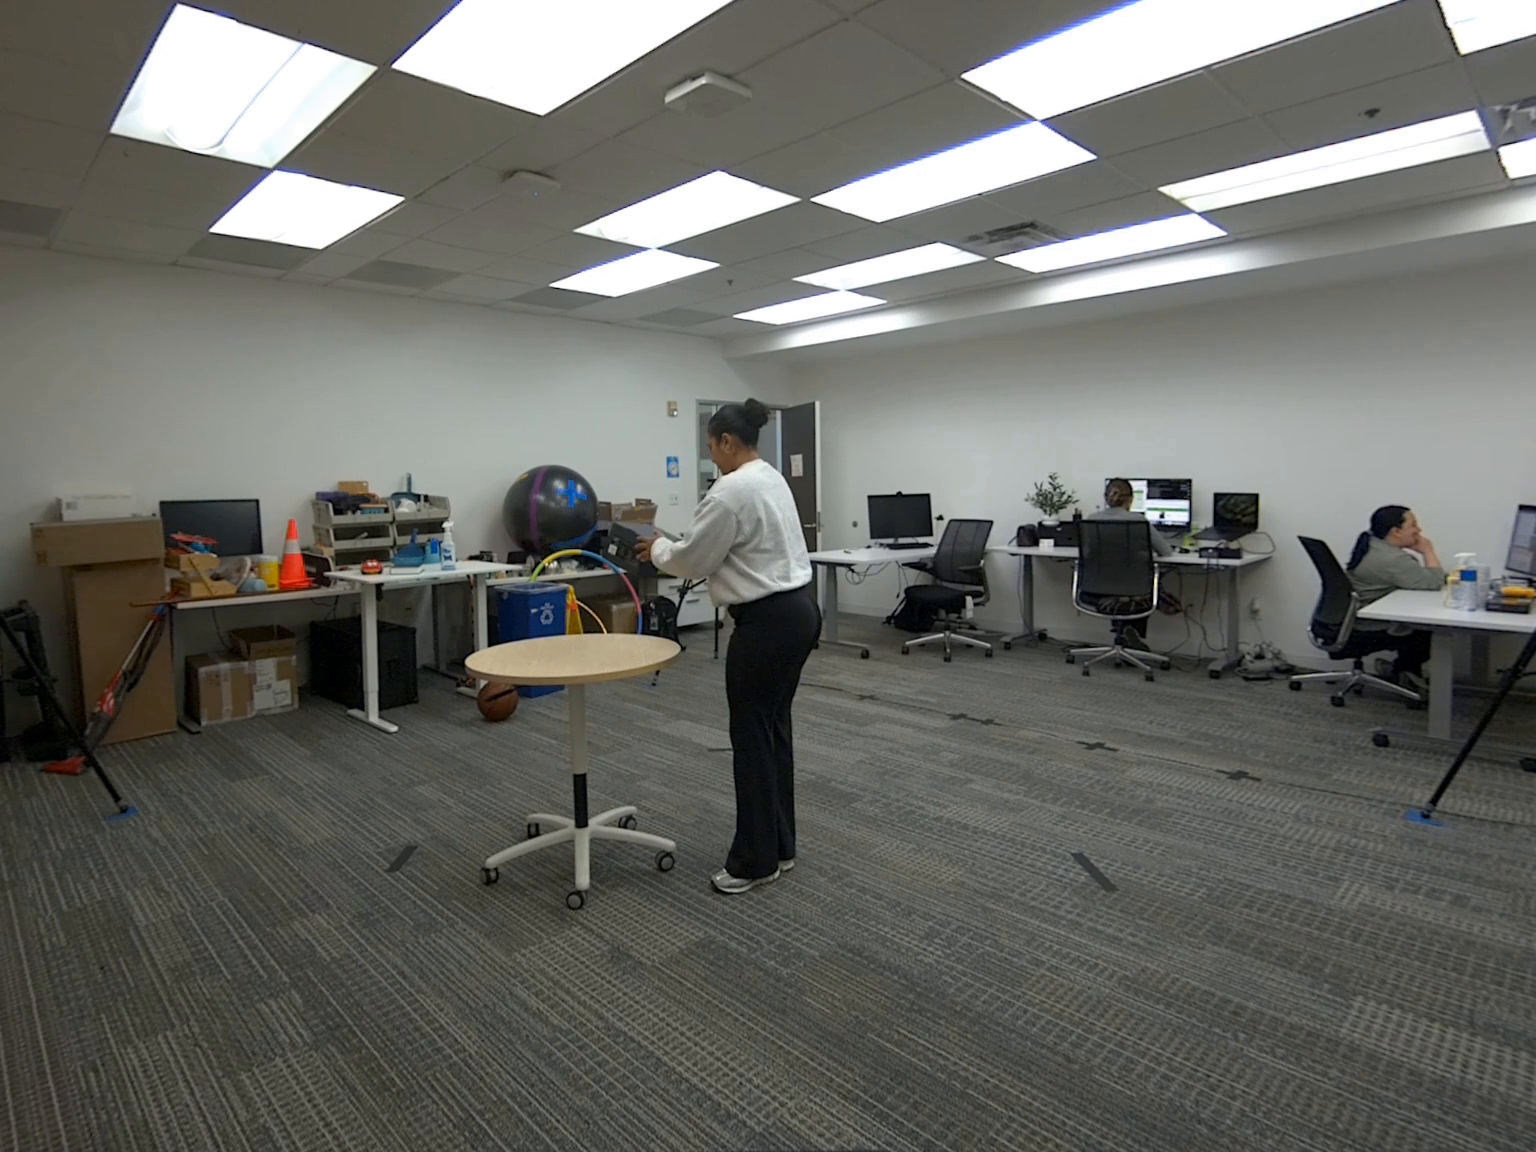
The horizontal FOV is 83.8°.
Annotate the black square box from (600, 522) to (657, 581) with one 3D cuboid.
[{"bbox_3d":[-0.479,-0.078,3.384,0.225,0.155,0.221,24,12,36],"label":"black square box"}]
